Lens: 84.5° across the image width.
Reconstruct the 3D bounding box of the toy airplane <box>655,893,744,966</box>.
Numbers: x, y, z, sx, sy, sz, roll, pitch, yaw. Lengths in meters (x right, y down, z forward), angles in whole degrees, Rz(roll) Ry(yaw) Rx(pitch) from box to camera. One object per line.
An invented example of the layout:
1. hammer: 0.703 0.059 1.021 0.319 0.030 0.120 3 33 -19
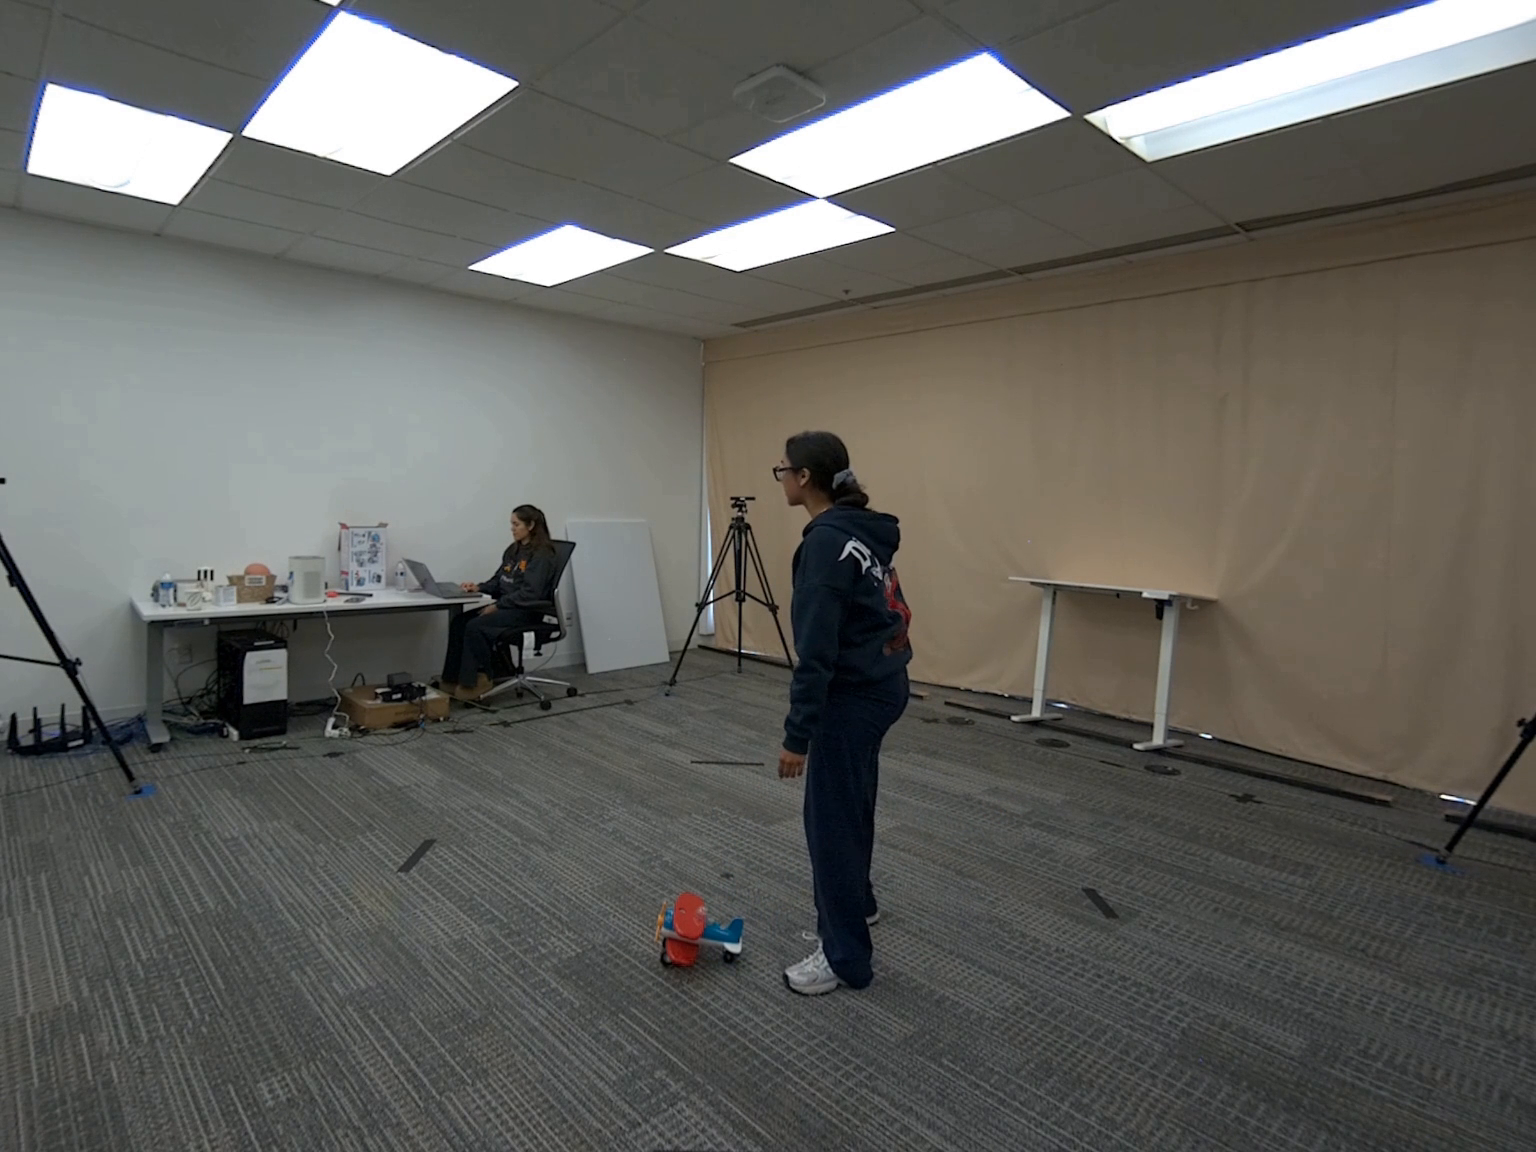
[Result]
1. toy airplane: -0.215 1.079 2.551 0.254 0.156 0.257 -2 6 -29
